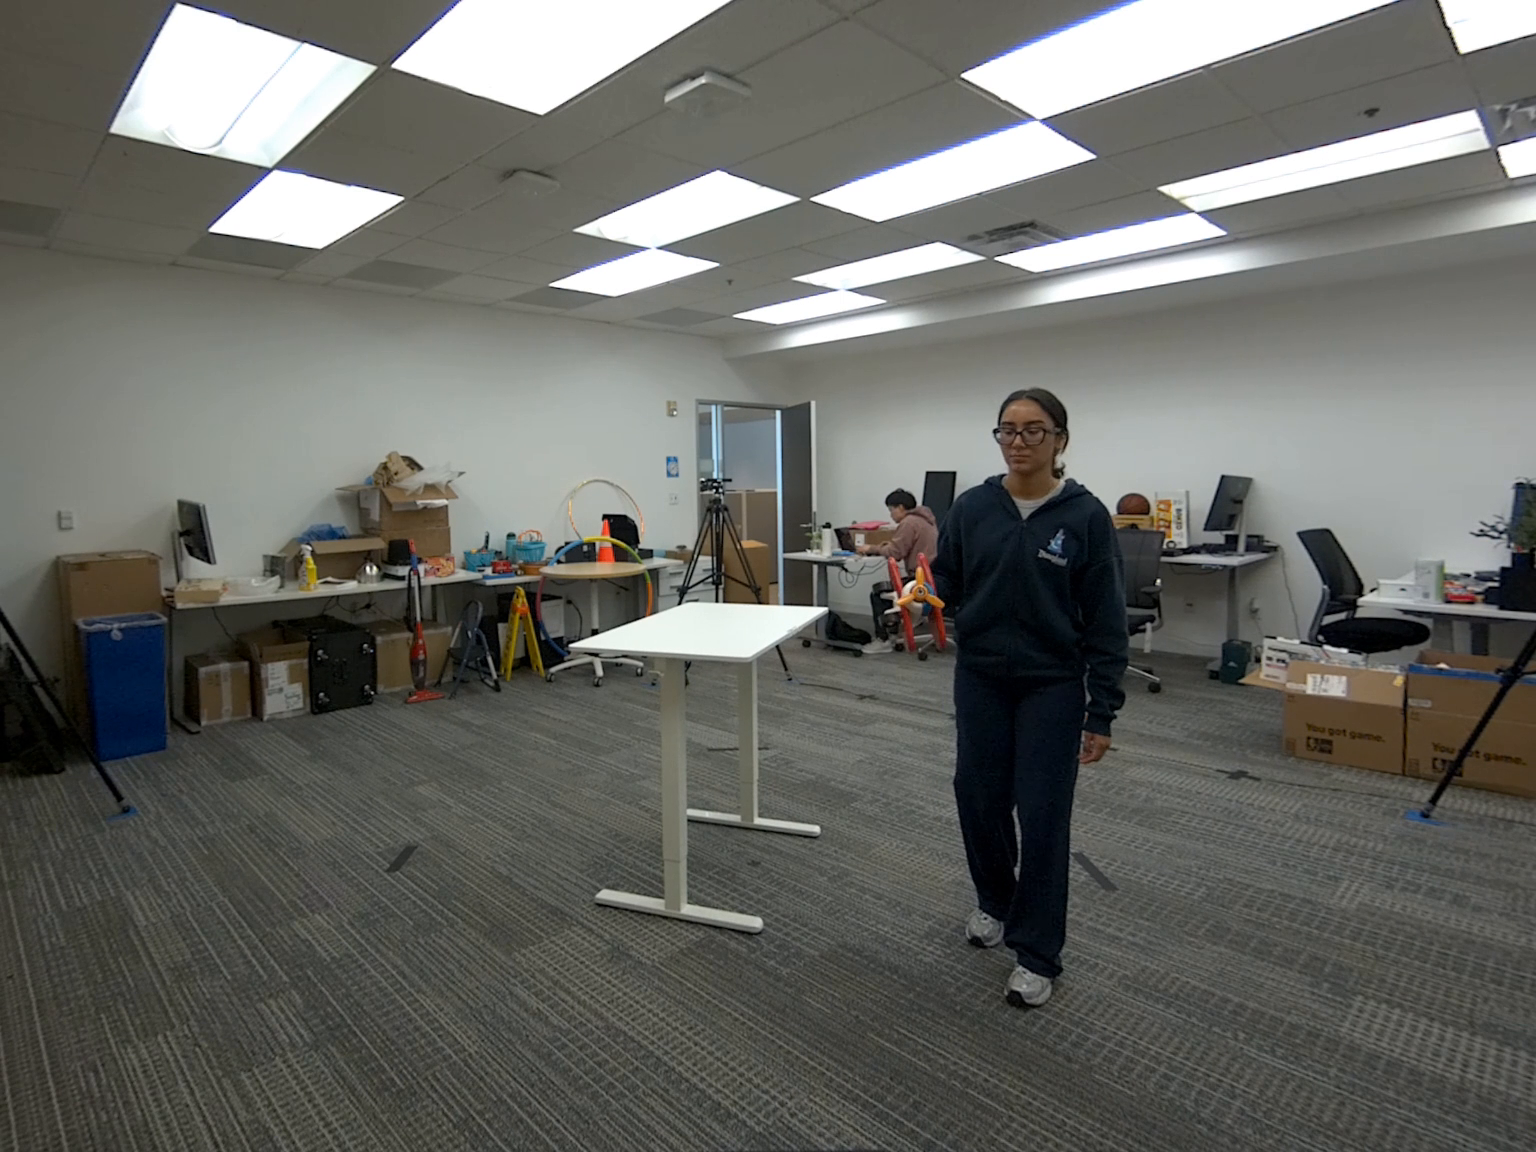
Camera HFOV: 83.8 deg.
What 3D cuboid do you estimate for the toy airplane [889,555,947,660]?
[{"bbox_3d":[0.378,0.068,2.247,0.158,0.250,0.257,-16,4,14],"label":"toy airplane"}]
